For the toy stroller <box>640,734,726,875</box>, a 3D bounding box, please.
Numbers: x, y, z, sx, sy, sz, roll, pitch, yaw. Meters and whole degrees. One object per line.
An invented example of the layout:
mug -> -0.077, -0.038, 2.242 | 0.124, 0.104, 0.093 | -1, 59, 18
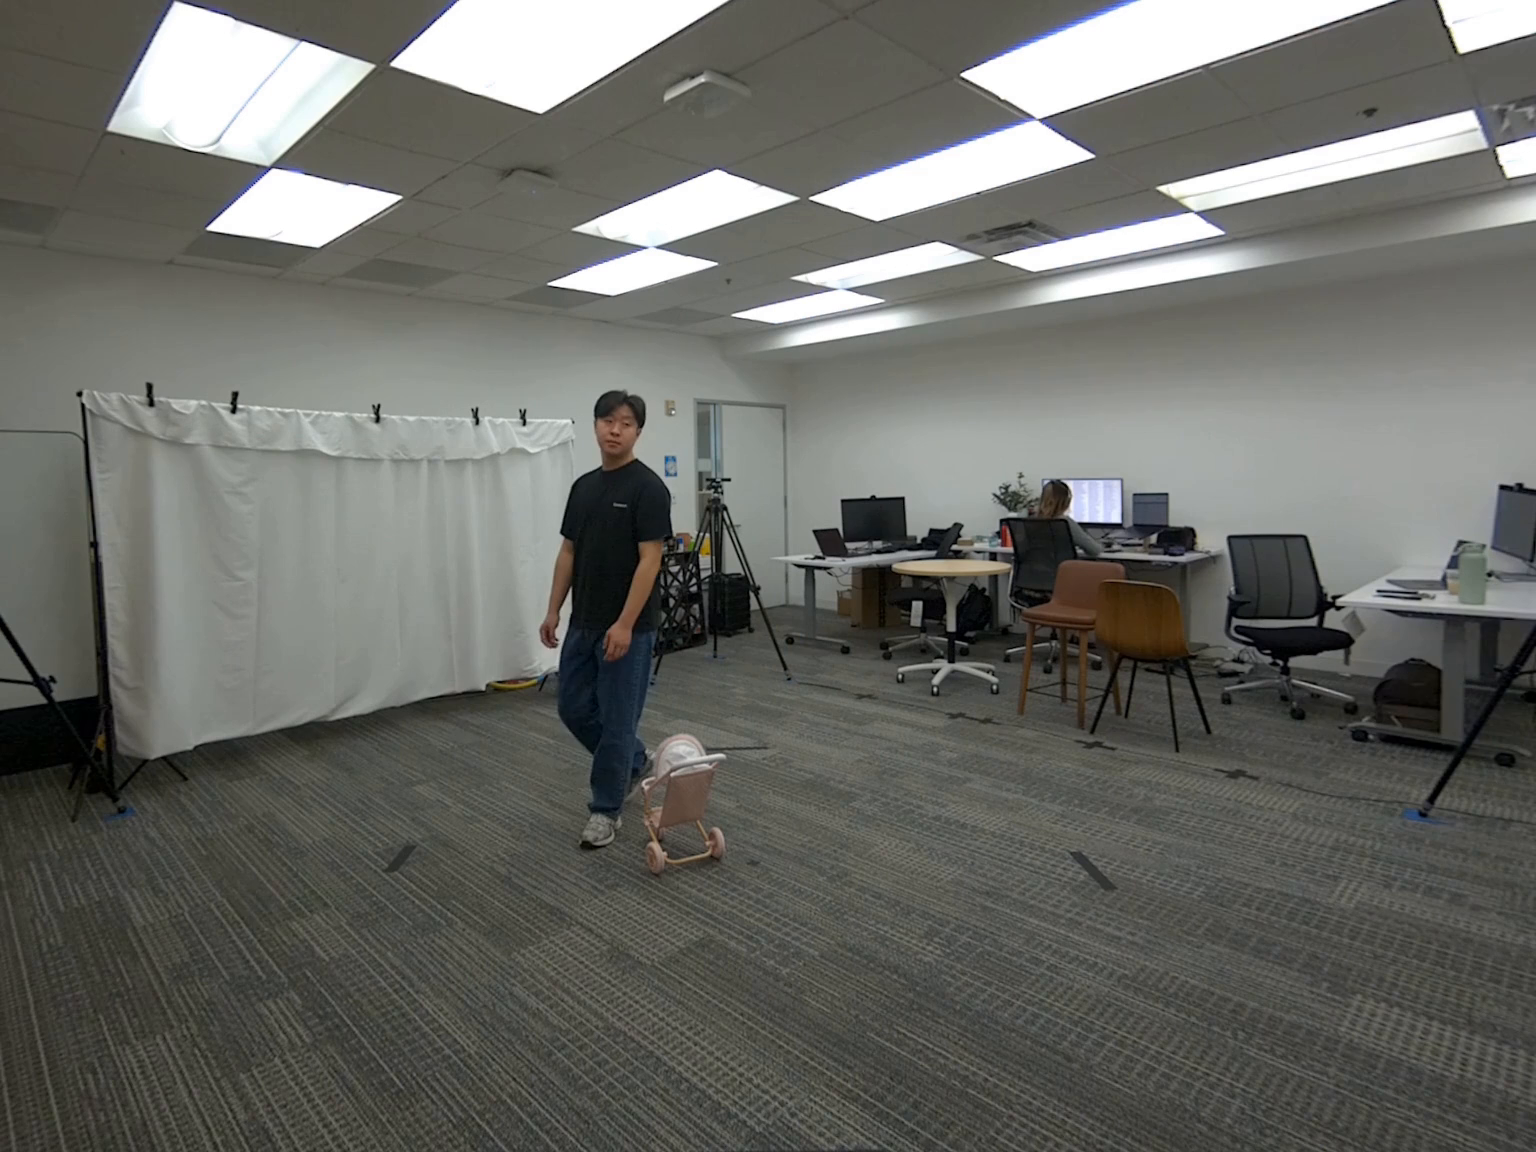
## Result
toy stroller -> -0.326, 0.815, 3.139 | 0.275, 0.527, 0.353 | -3, 20, -26
